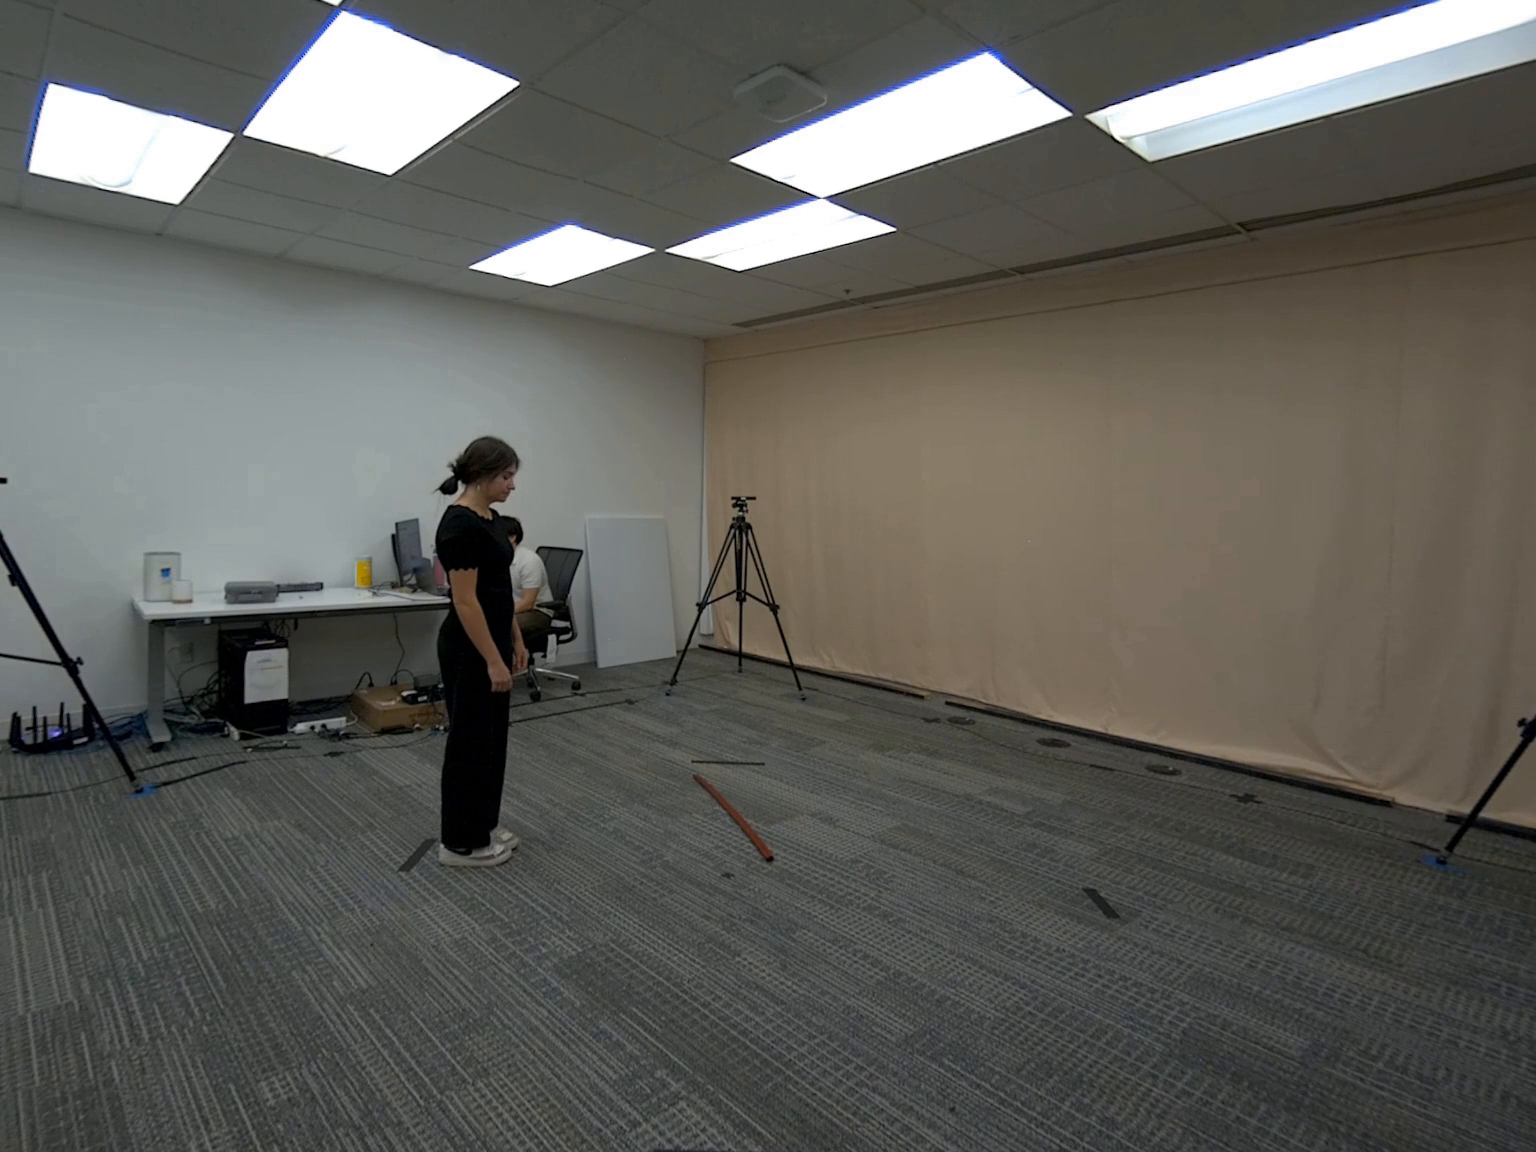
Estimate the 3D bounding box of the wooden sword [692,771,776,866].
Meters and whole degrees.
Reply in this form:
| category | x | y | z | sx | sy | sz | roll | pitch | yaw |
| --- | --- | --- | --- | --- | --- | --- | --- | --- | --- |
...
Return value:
| category | x | y | z | sx | sy | sz | roll | pitch | yaw |
| --- | --- | --- | --- | --- | --- | --- | --- | --- | --- |
| wooden sword | -0.175 | 1.036 | 3.718 | 0.024 | 0.050 | 1.042 | -37 | 16 | -14 |
